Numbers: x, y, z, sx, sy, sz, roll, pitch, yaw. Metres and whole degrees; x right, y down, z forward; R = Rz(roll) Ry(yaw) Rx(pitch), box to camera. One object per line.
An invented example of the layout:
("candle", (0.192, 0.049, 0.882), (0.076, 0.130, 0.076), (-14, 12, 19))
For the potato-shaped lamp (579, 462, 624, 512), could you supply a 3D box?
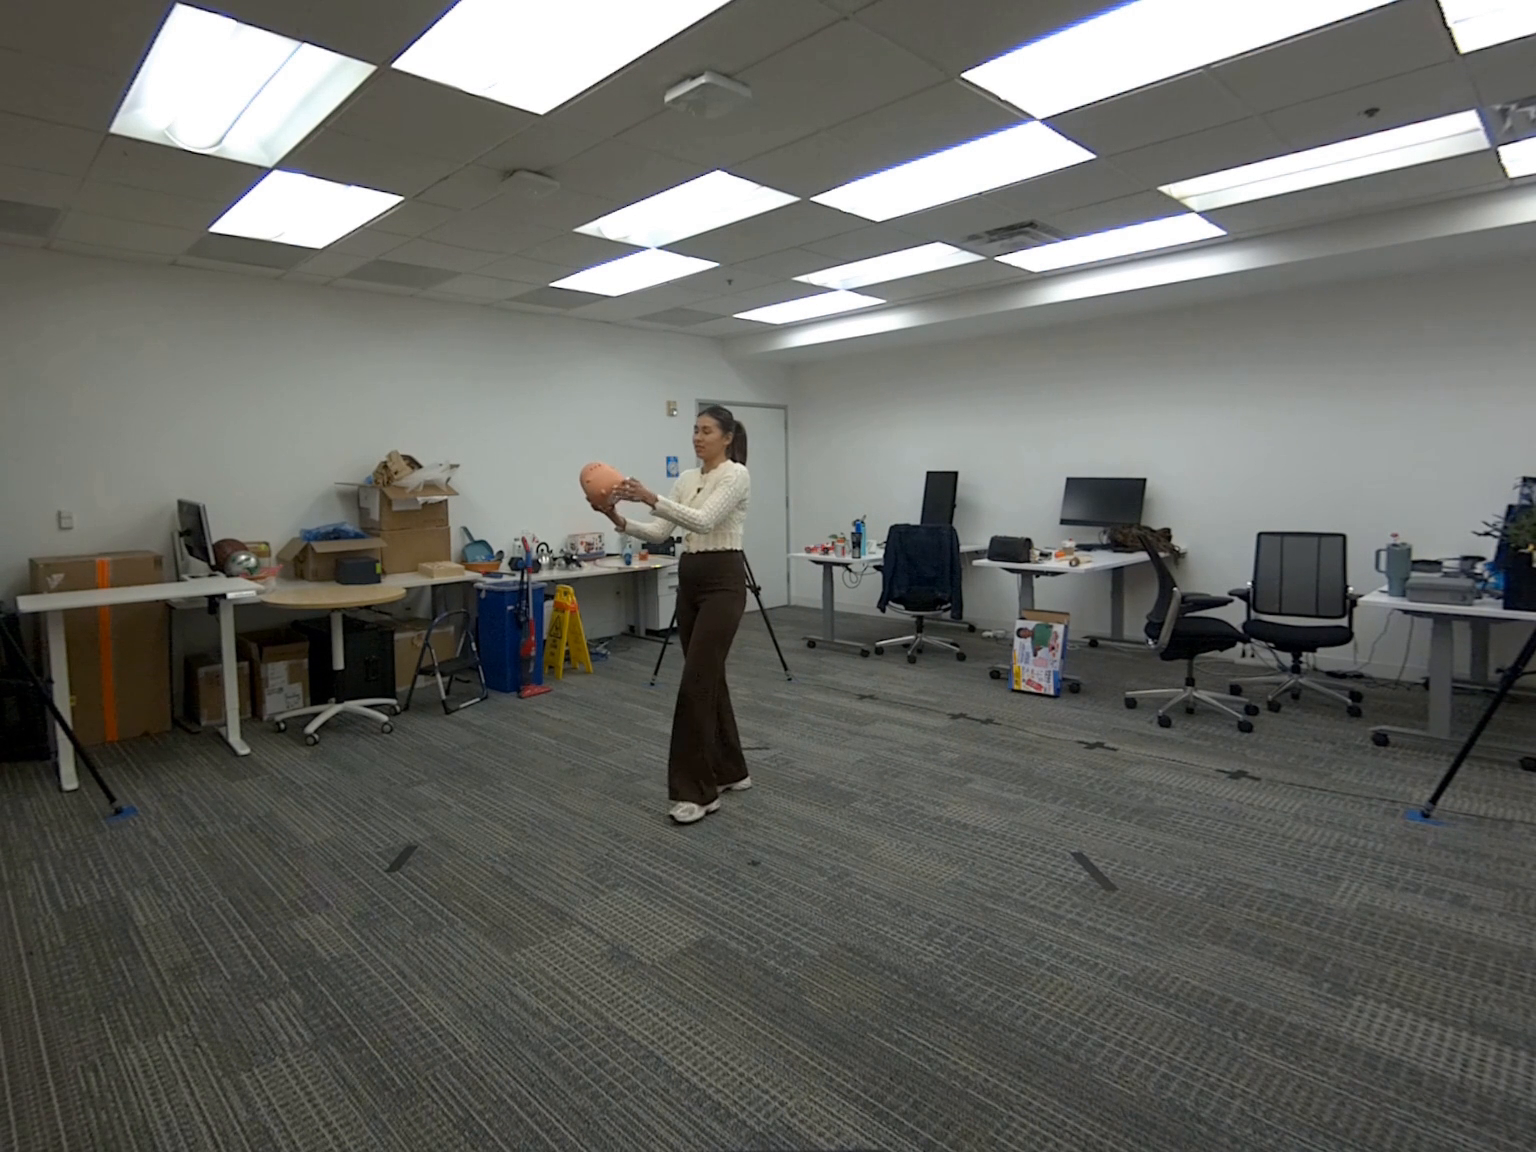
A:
("potato-shaped lamp", (-0.680, -0.384, 3.485), (0.164, 0.203, 0.168), (-35, -19, -23))
